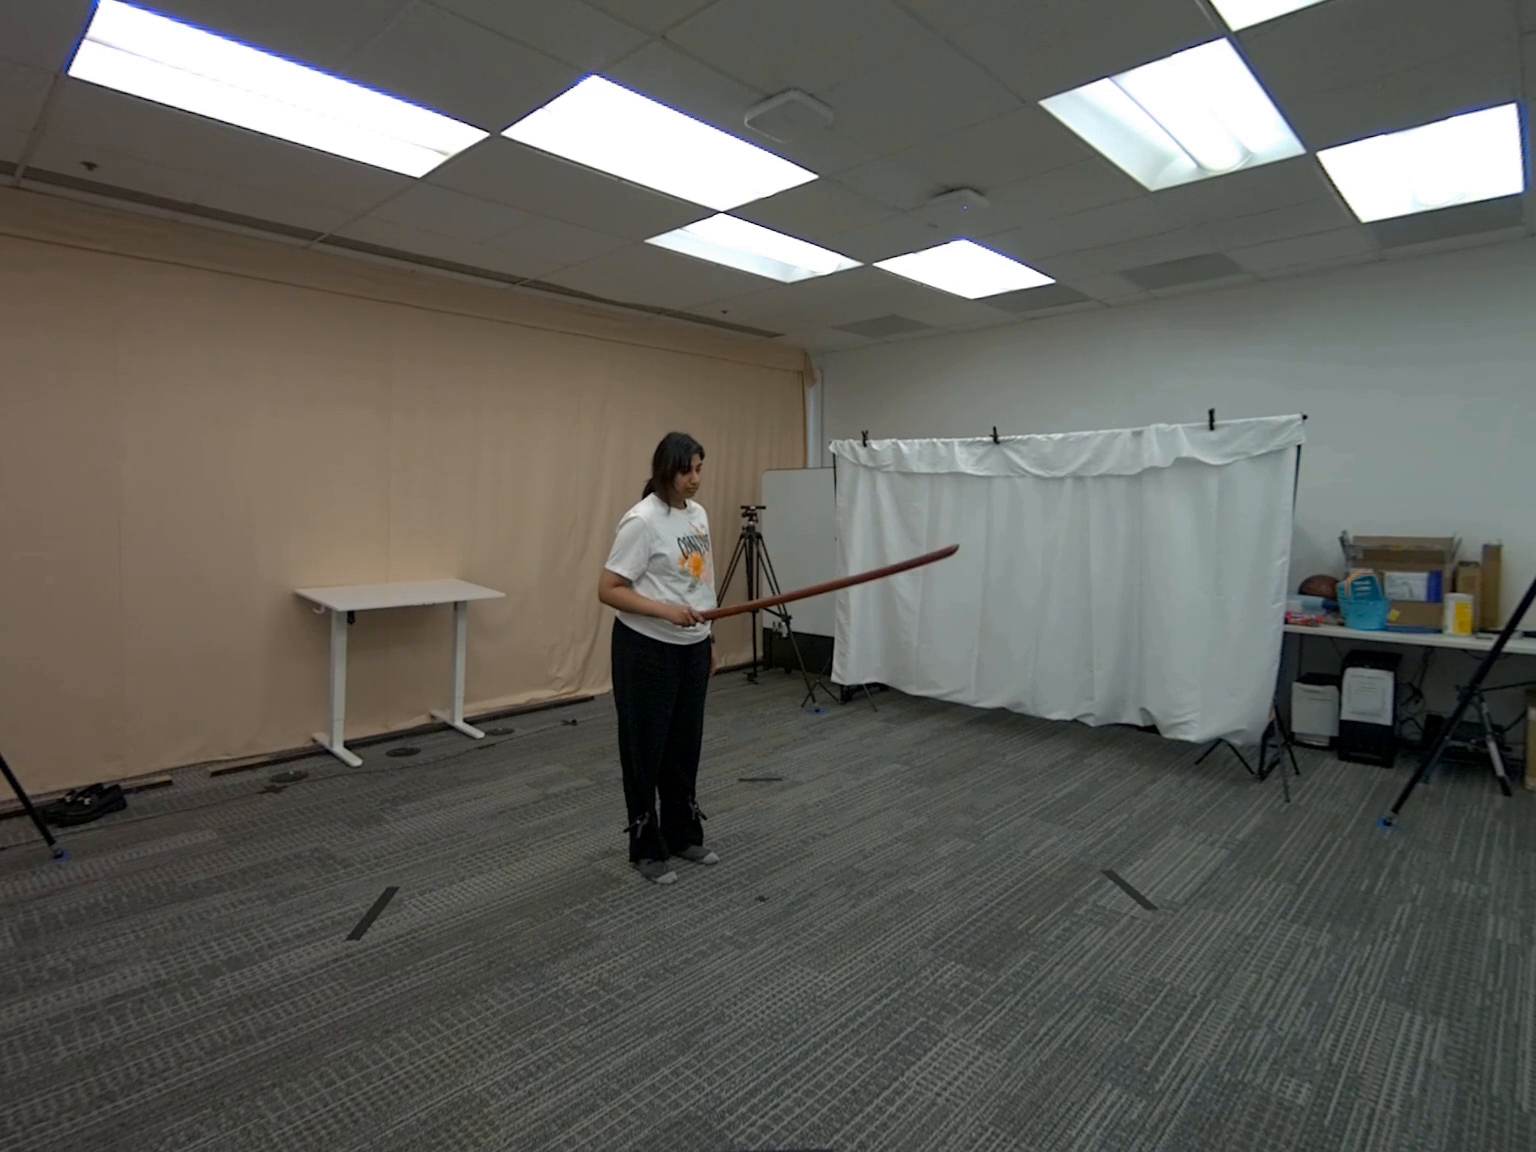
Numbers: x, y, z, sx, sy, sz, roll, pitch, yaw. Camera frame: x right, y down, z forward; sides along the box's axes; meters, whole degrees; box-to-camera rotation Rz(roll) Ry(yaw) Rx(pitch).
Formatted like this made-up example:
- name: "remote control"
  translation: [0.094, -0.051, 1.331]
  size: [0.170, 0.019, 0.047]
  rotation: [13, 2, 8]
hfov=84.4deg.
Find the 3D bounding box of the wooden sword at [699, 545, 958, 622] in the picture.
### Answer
- name: "wooden sword"
  translation: [0.145, 0.043, 2.849]
  size: [1.042, 0.051, 0.024]
  rotation: [-15, 4, 21]
